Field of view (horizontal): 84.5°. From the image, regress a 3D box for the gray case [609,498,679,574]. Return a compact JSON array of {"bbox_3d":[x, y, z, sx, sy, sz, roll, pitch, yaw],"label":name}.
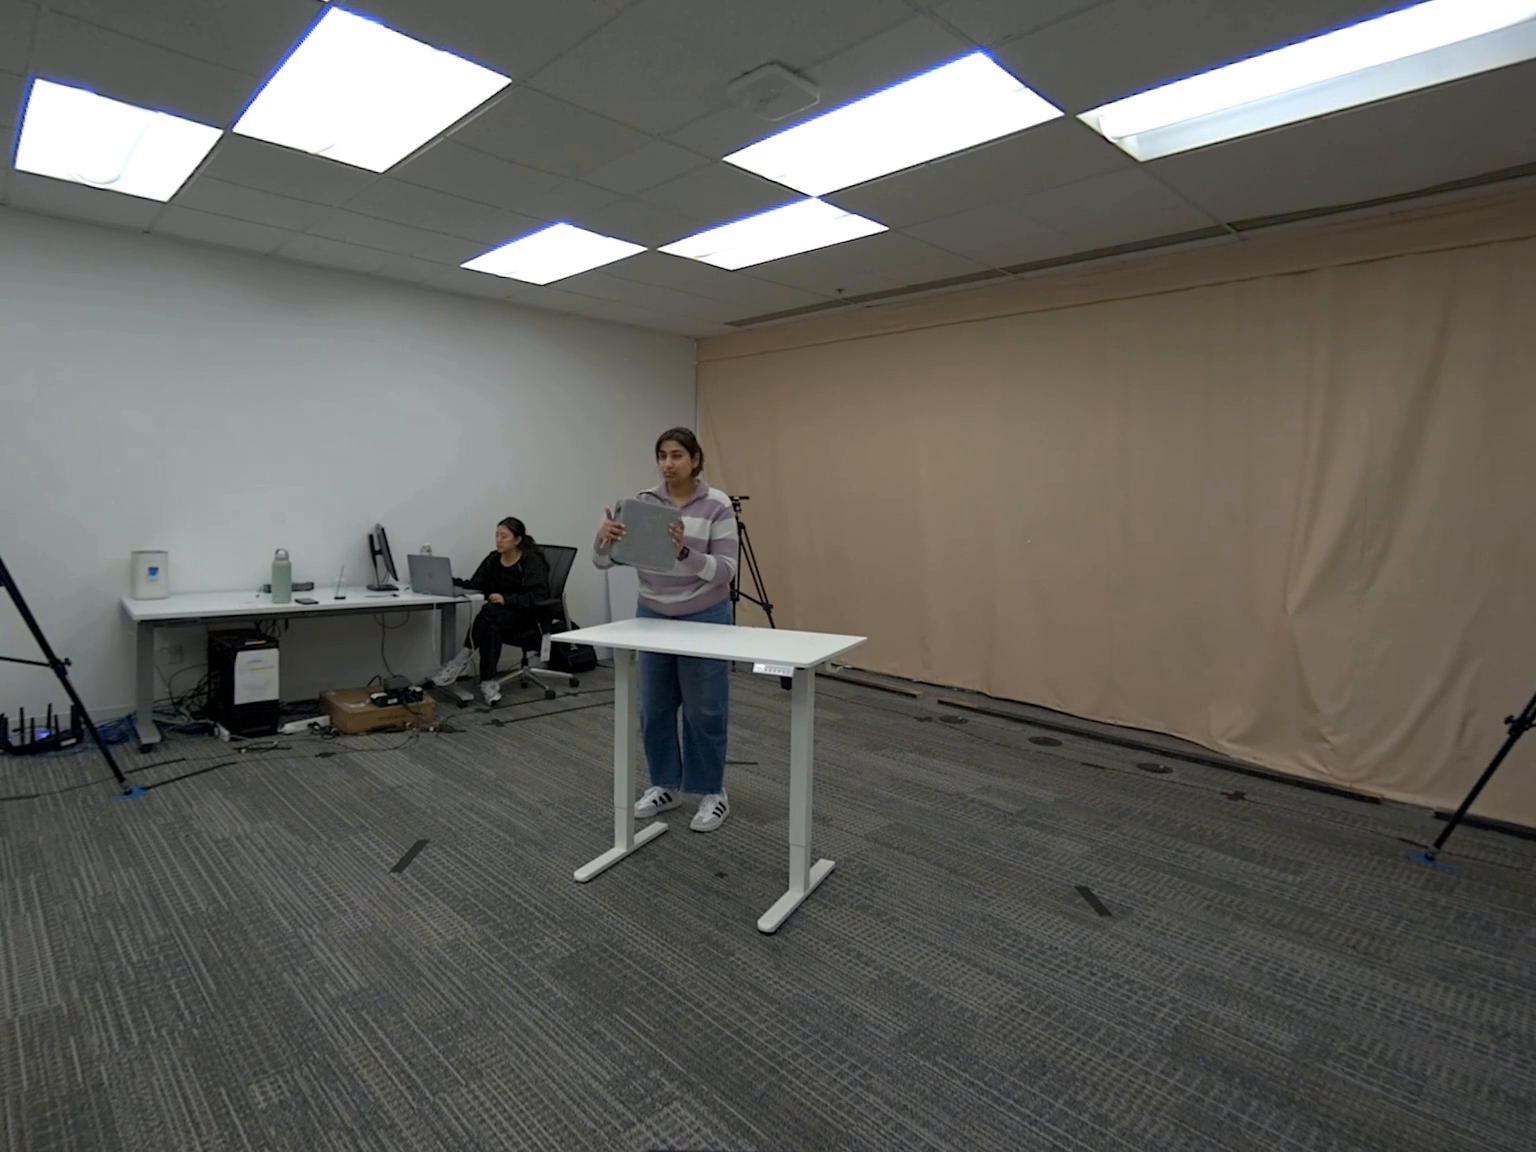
[{"bbox_3d":[-0.486,-0.155,3.250,0.251,0.261,0.106,11,-6,-26],"label":"gray case"}]
